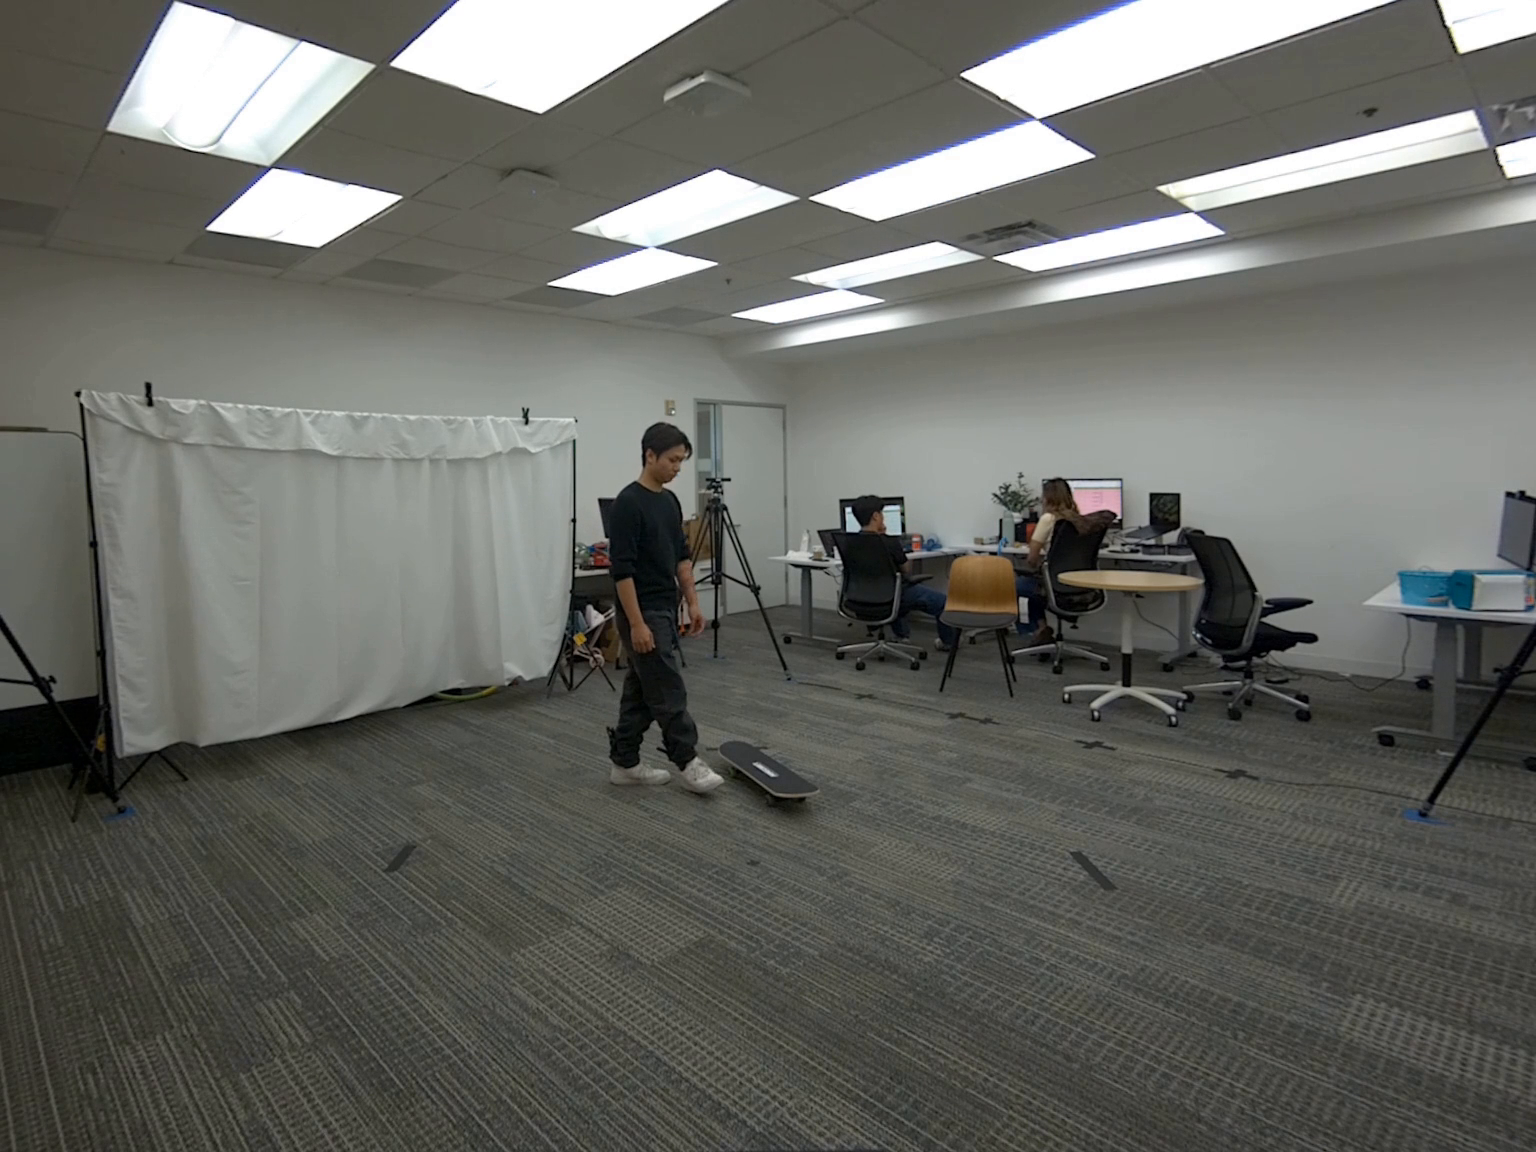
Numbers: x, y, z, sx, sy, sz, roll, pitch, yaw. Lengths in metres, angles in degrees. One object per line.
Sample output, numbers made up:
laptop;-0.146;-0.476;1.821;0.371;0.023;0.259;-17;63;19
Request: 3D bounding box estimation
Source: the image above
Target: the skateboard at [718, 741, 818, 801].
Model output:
skateboard;-0.004;0.901;3.840;0.189;0.110;0.804;-4;6;-24
